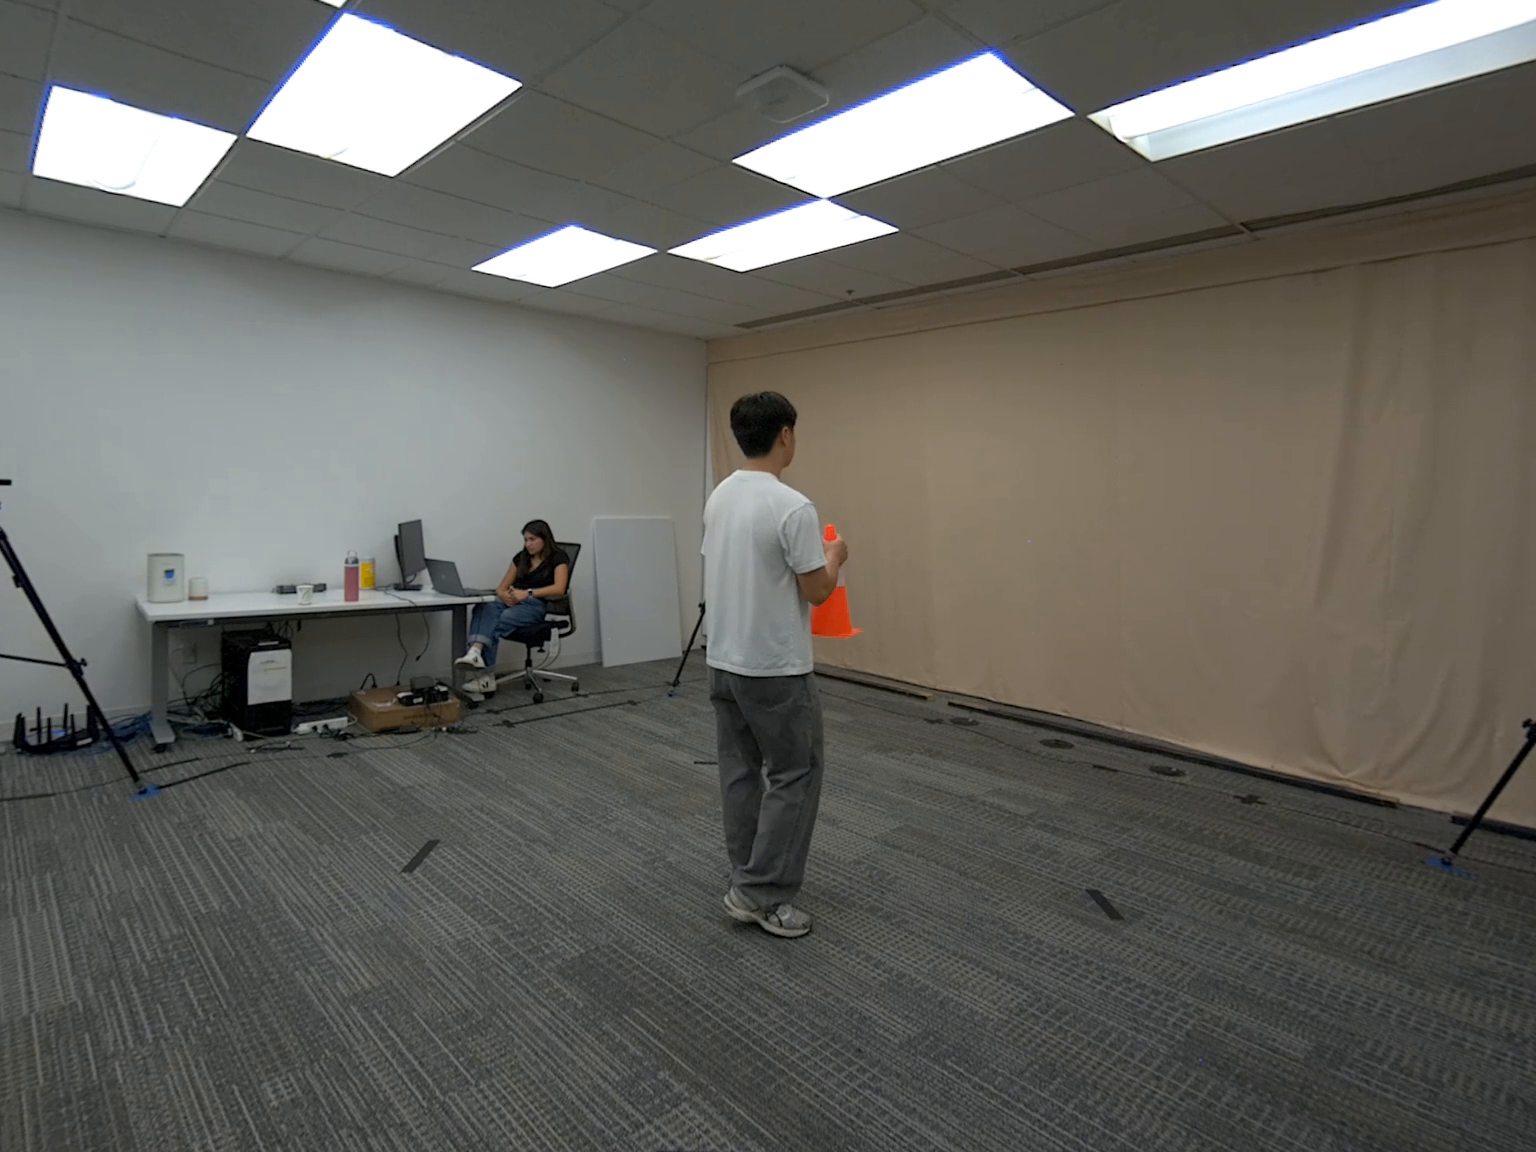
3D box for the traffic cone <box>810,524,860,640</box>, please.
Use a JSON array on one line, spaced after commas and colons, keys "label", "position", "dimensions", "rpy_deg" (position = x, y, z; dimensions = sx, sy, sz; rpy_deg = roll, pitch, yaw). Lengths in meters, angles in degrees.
[{"label": "traffic cone", "position": [0.216, 0.016, 2.981], "dimensions": [0.209, 0.382, 0.200], "rpy_deg": [6, 7, 27]}]
